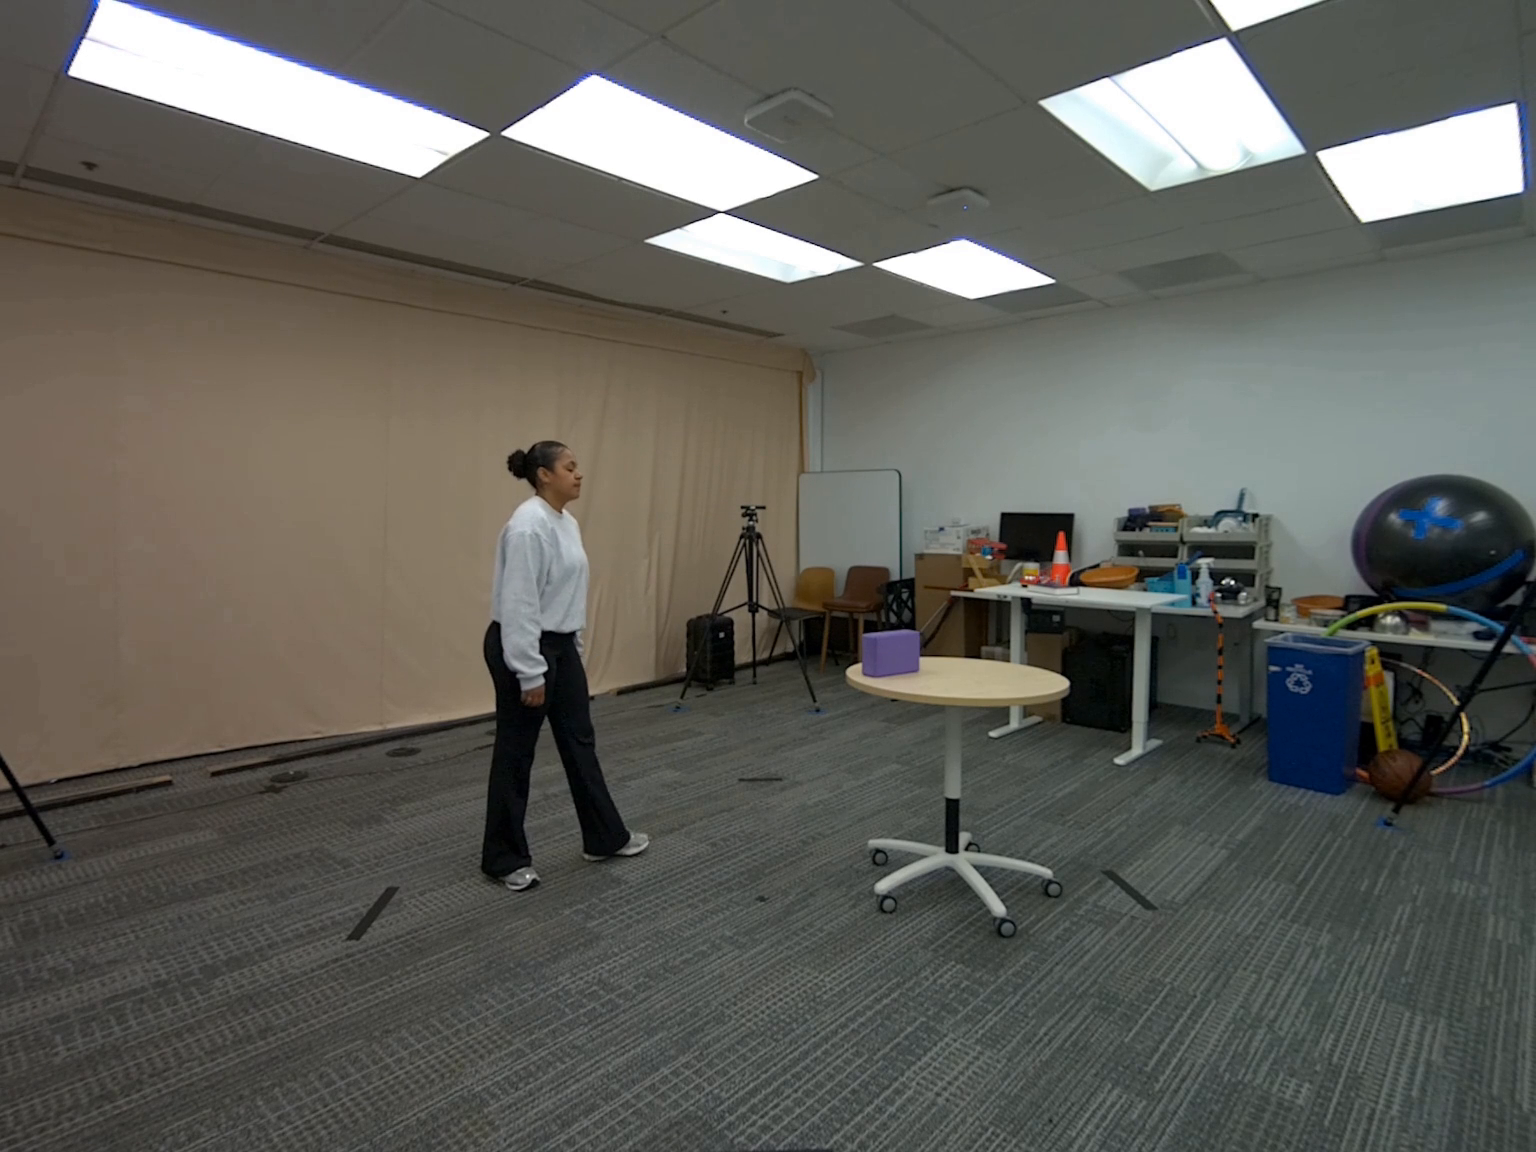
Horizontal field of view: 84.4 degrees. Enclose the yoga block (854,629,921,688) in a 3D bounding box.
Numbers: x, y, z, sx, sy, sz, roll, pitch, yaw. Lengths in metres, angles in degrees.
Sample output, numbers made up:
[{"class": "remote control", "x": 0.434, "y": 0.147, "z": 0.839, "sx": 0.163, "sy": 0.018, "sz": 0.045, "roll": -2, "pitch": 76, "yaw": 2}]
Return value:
[{"class": "yoga block", "x": 0.453, "y": 0.280, "z": 3.042, "sx": 0.223, "sy": 0.149, "sz": 0.079, "roll": -2, "pitch": 3, "yaw": -33}]
